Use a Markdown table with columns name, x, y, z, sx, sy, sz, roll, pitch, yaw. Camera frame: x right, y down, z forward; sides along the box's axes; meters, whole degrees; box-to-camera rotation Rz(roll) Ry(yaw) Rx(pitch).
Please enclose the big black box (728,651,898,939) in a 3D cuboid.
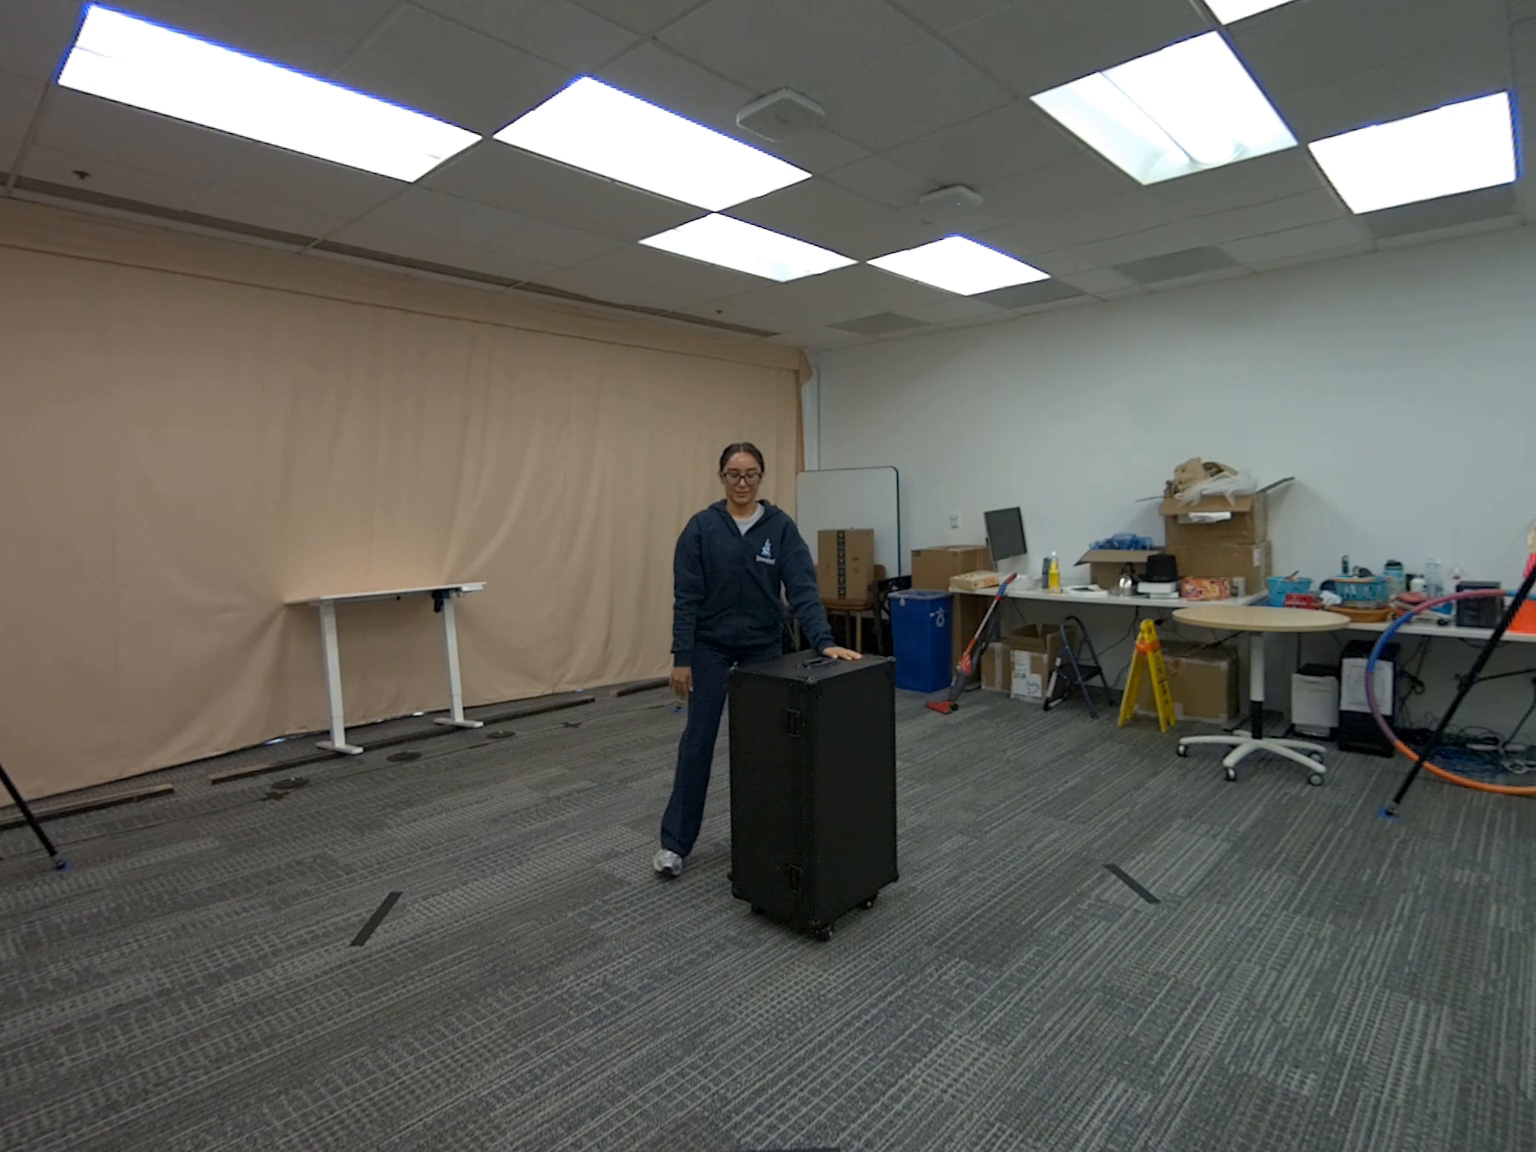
| name | x | y | z | sx | sy | sz | roll | pitch | yaw |
| --- | --- | --- | --- | --- | --- | --- | --- | --- | --- |
| big black box | 0.158 | 0.724 | 2.883 | 0.409 | 0.859 | 0.506 | 1 | 5 | 42 |
